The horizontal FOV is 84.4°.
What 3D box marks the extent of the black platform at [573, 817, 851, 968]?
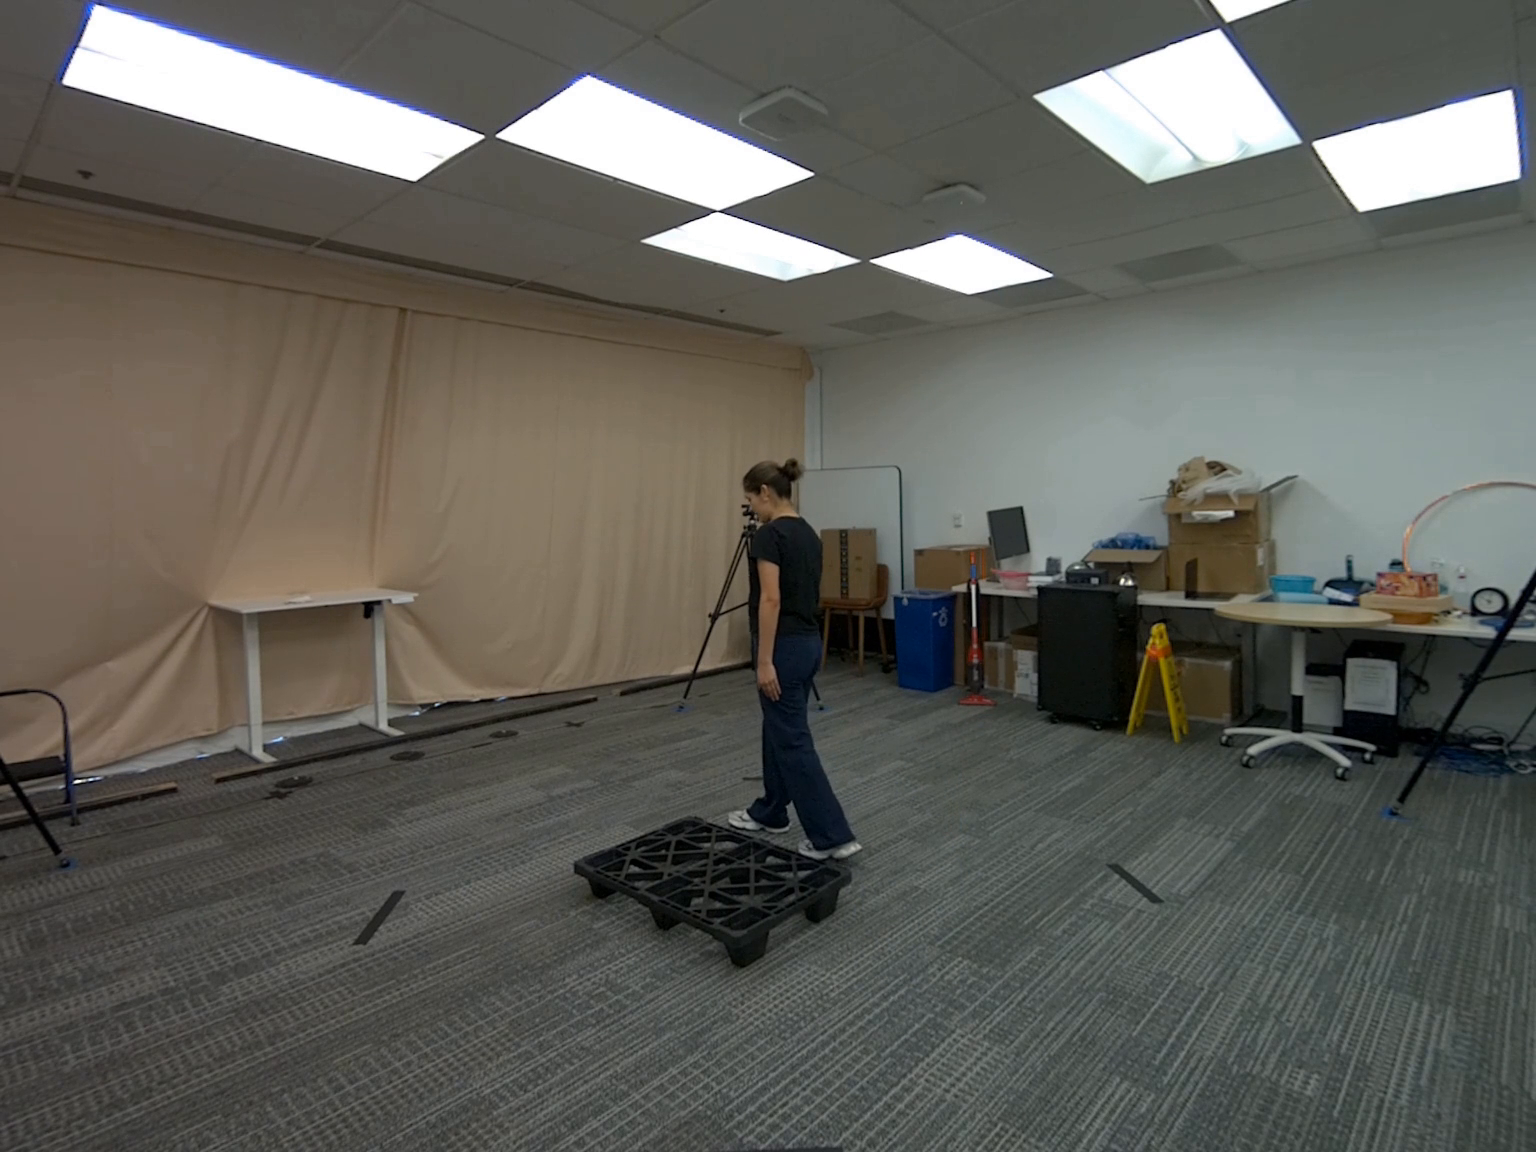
[{"bbox_3d":[-0.193,1.083,2.937,0.832,0.143,0.587,3,7,42],"label":"black platform"}]
